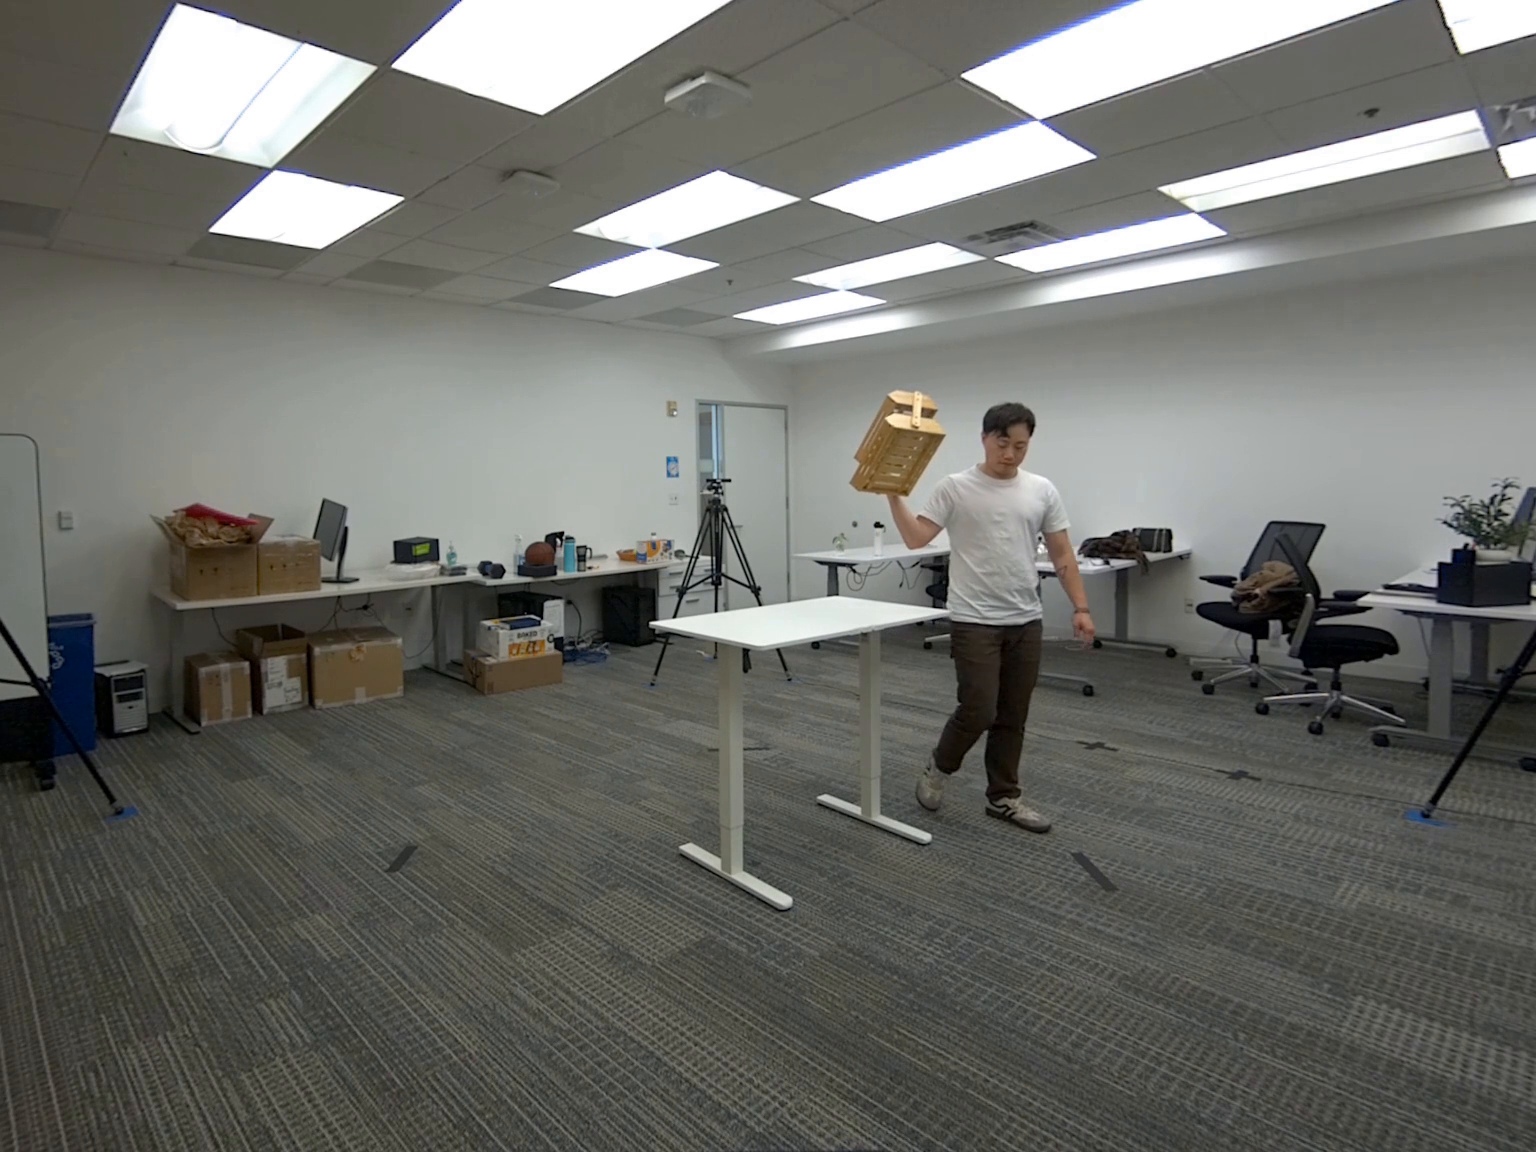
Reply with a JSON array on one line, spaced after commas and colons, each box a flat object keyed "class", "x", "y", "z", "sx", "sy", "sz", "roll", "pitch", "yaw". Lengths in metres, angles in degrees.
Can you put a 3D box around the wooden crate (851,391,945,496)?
[{"class": "wooden crate", "x": 0.468, "y": -0.513, "z": 3.244, "sx": 0.295, "sy": 0.321, "sz": 0.283, "roll": 5, "pitch": 43, "yaw": -26}]
